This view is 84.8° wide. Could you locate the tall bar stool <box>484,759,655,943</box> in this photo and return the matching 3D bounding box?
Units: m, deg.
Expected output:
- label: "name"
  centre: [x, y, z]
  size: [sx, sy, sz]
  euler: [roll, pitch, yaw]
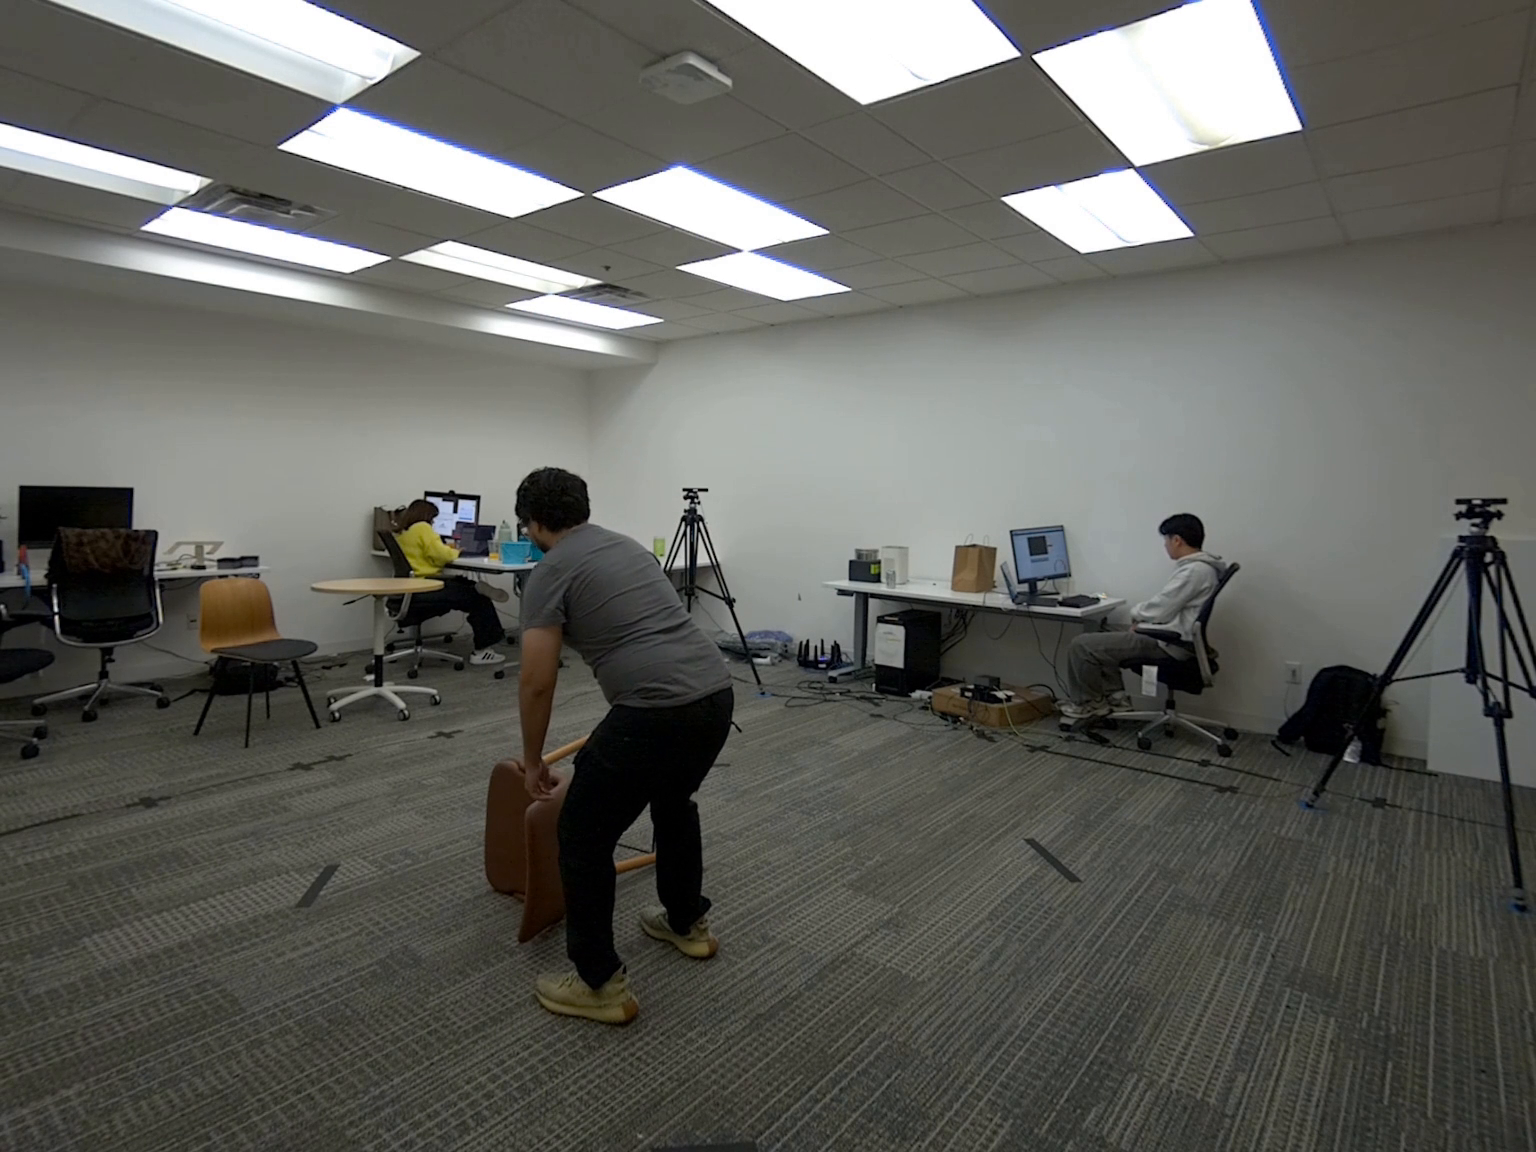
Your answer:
- label: "tall bar stool"
  centre: [-0.712, 0.862, 2.965]
  size: [0.481, 0.455, 0.867]
  euler: [5, 4, 27]
